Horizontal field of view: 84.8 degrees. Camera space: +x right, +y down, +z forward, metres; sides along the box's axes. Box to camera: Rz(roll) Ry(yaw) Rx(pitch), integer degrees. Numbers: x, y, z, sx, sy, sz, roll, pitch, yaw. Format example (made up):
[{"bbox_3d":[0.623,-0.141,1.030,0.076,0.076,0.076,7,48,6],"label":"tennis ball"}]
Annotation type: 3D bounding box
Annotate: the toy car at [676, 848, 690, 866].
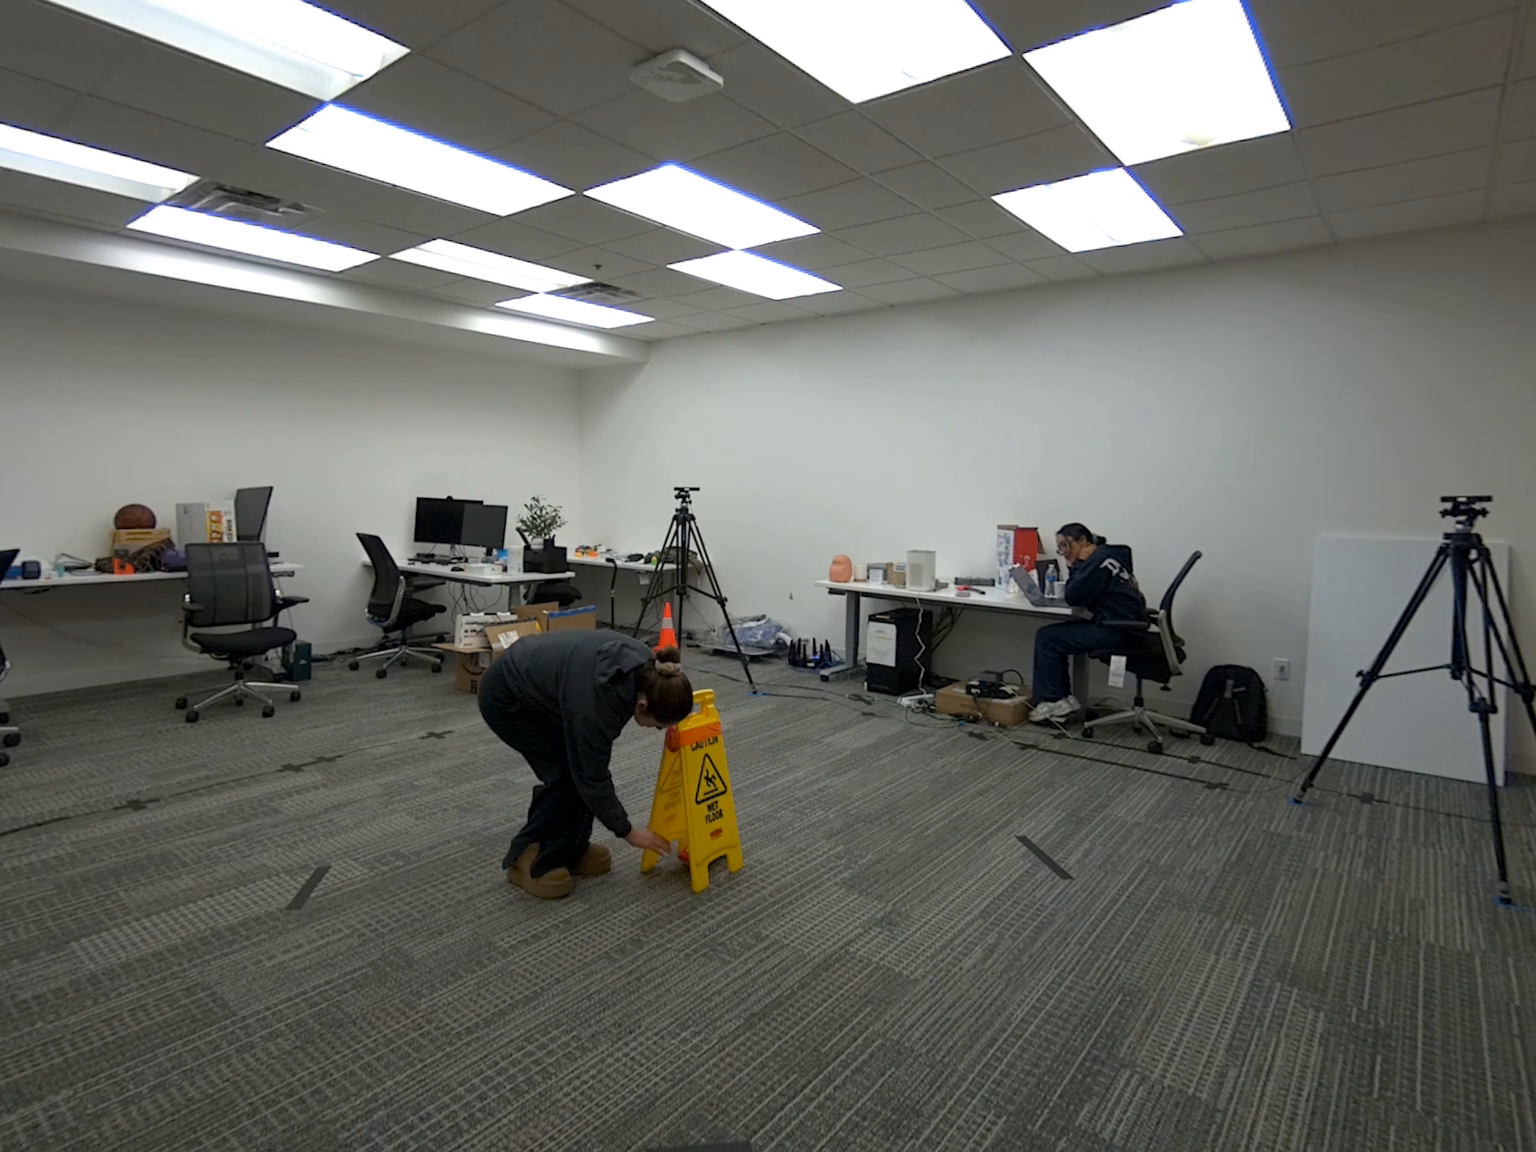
[{"bbox_3d":[-0.230,1.031,3.155,0.134,0.083,0.246,4,-3,35],"label":"toy car"}]
